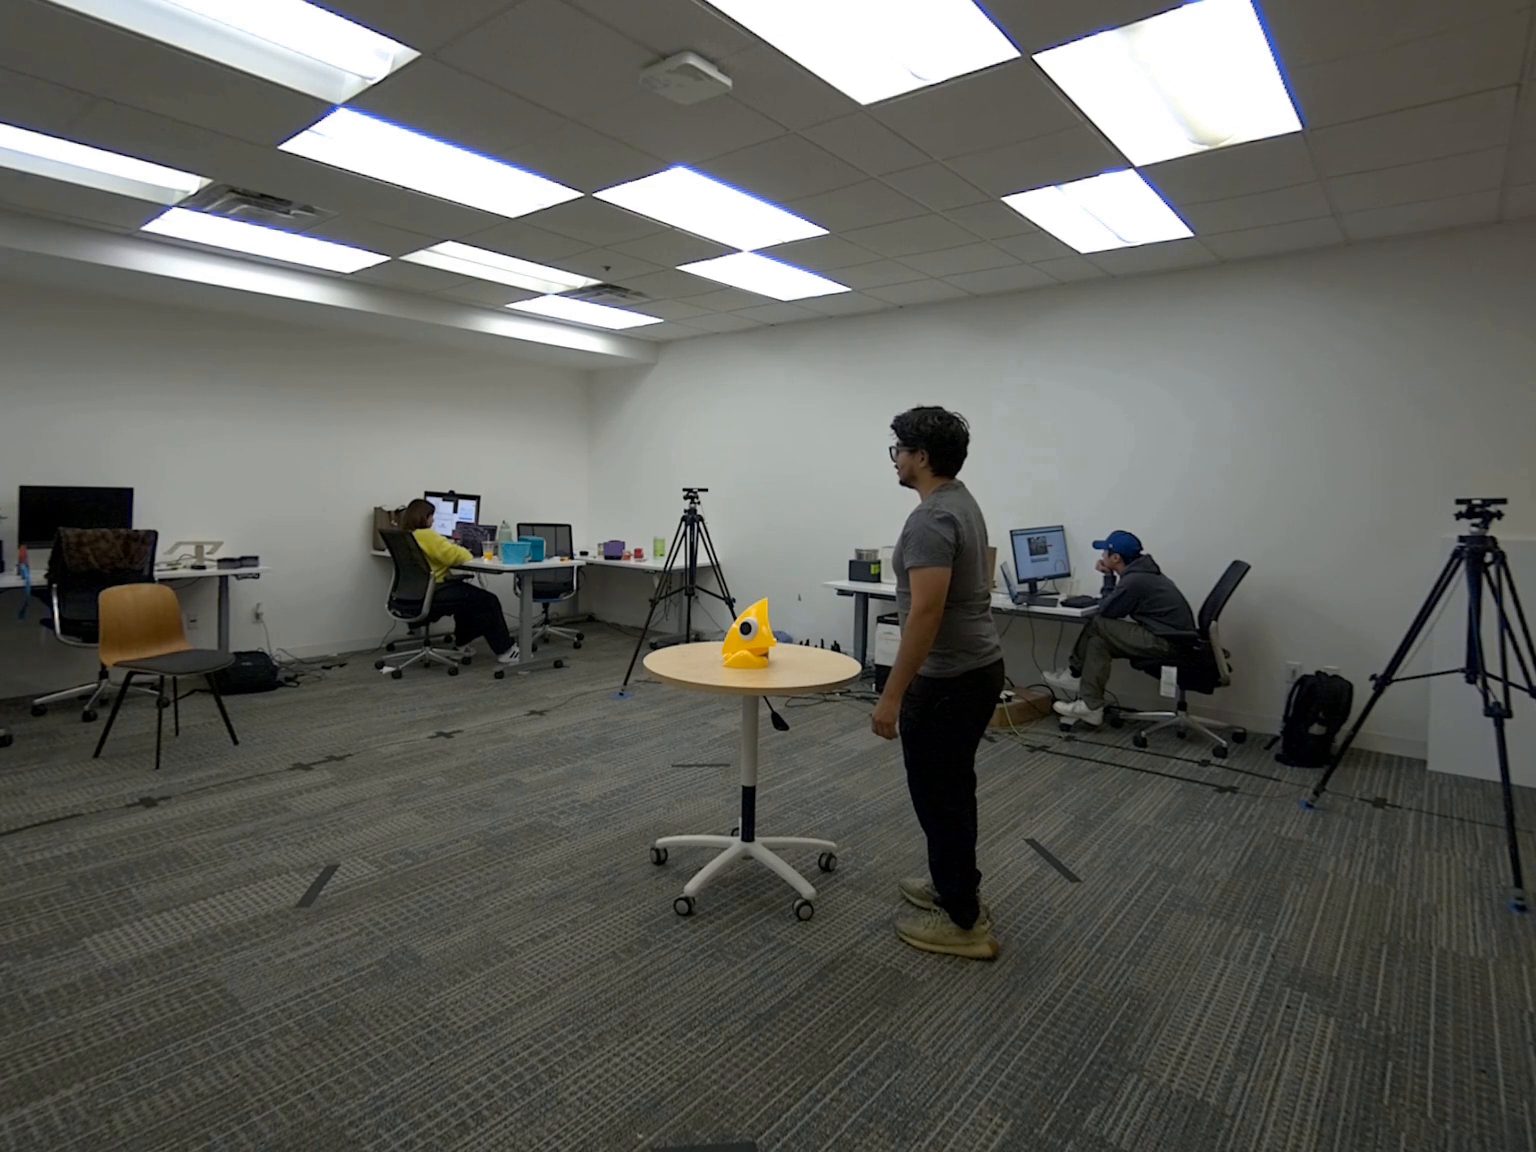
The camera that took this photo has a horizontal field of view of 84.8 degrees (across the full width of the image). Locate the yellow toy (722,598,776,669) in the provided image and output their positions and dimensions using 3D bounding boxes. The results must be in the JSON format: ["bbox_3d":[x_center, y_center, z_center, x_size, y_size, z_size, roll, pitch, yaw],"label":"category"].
[{"bbox_3d":[-0.078,0.188,2.983,0.193,0.230,0.205,1,4,0],"label":"yellow toy"}]
